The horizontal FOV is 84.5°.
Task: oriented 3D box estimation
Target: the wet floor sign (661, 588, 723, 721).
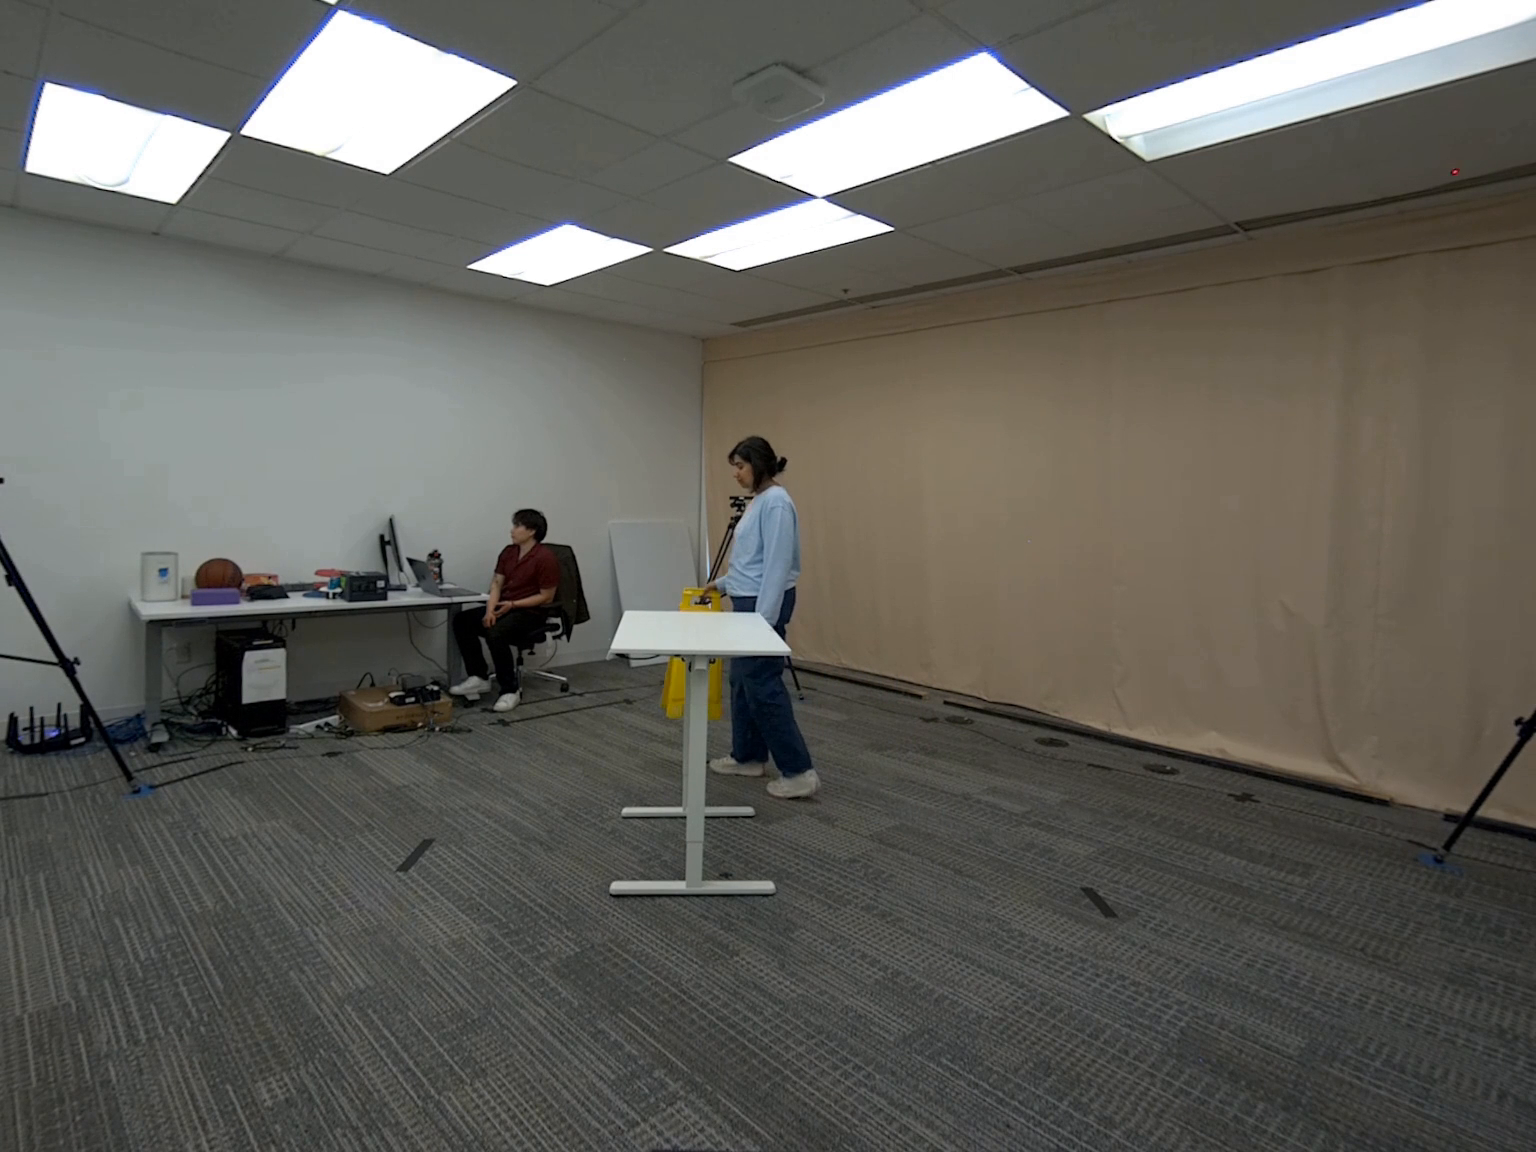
[{"bbox_3d":[-0.377,0.392,4.390,0.279,0.645,0.293,6,1,-15],"label":"wet floor sign"}]
